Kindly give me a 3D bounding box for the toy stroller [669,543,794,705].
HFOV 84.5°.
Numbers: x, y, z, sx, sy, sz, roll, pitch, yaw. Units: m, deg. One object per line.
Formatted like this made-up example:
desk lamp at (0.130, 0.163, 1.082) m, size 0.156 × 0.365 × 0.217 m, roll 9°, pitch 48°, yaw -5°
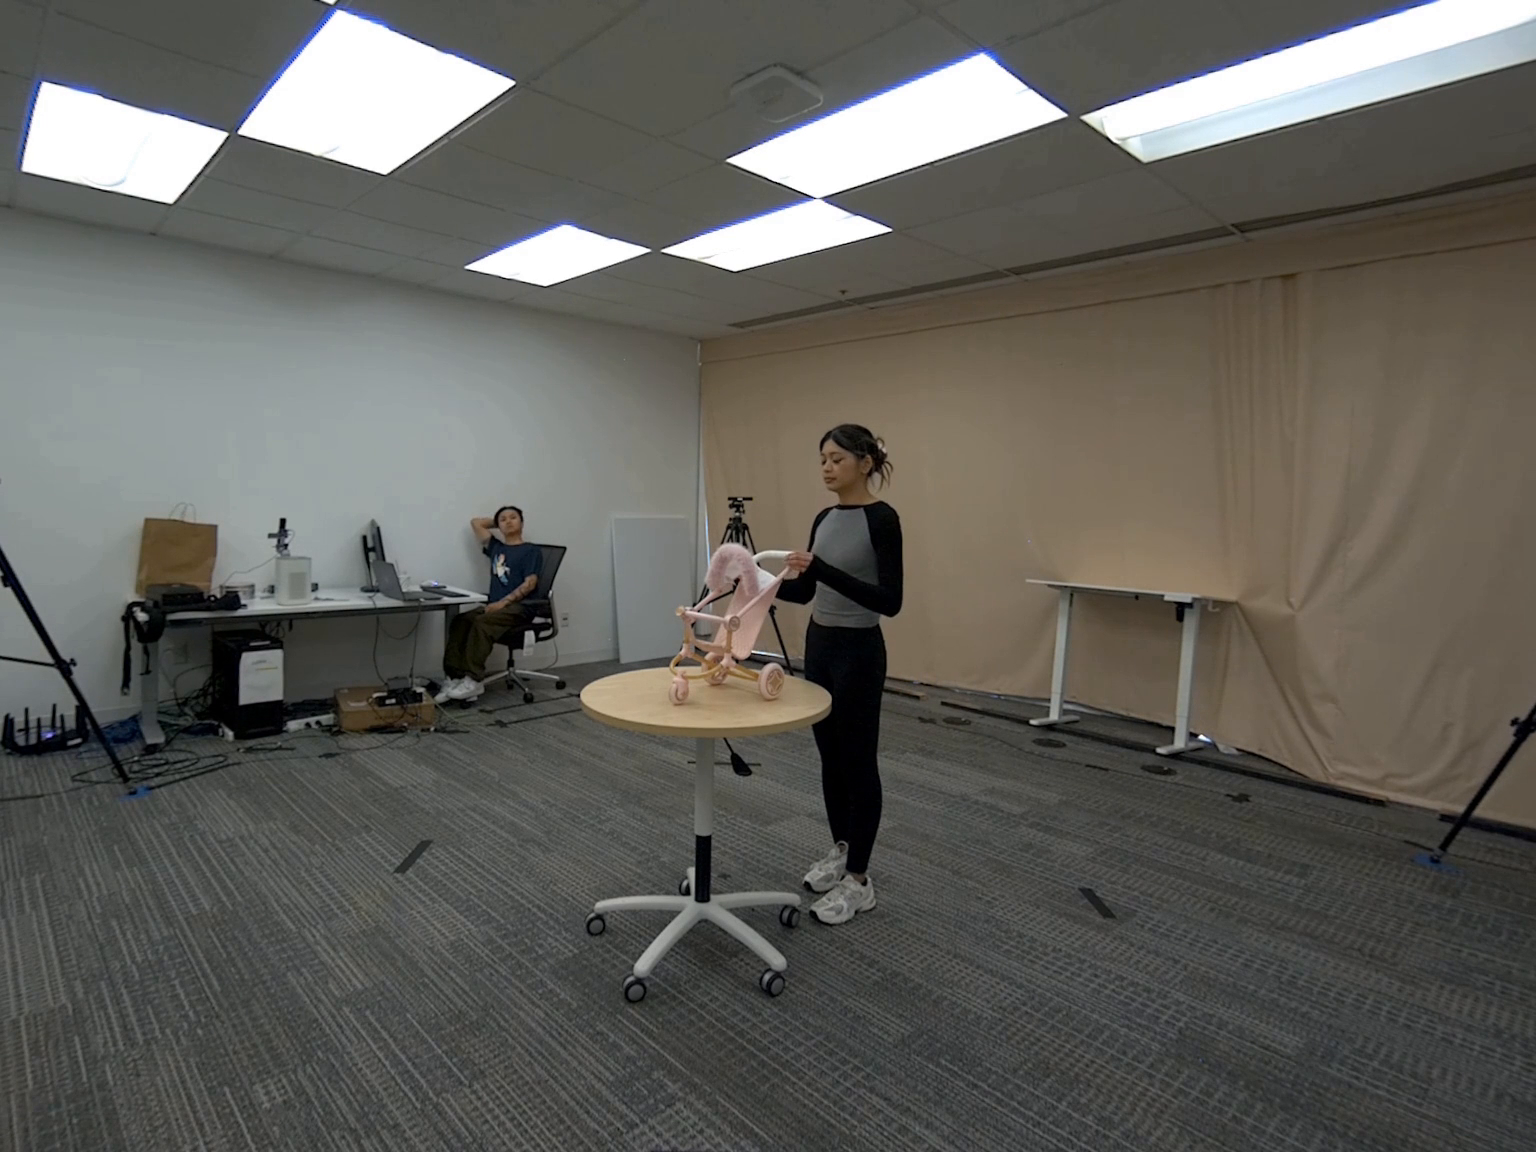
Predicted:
toy stroller at (-0.121, 0.143, 2.547) m, size 0.332 × 0.537 × 0.288 m, roll 18°, pitch -8°, yaw -39°
